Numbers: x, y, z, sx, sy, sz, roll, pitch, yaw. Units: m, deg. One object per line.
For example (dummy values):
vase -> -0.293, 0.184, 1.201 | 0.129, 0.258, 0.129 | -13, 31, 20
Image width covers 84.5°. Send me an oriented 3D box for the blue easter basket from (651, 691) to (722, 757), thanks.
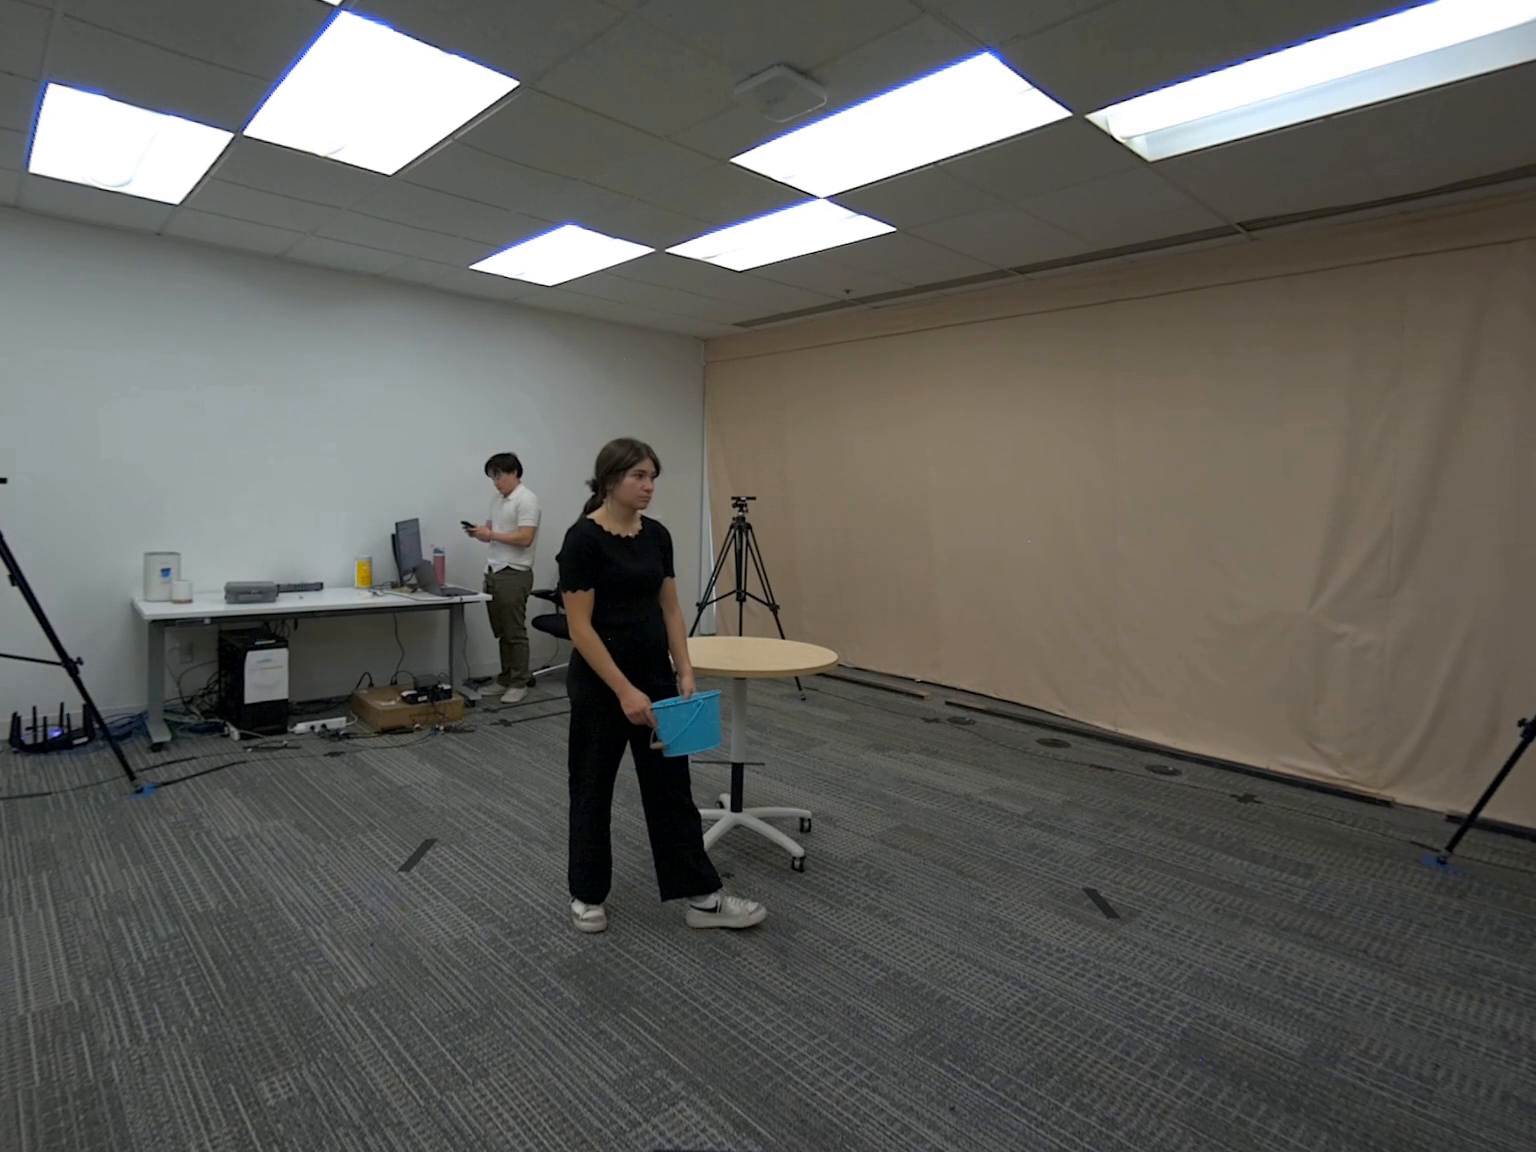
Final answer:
blue easter basket -> -0.277, 0.456, 2.541 | 0.243, 0.156, 0.243 | -9, -3, -2
